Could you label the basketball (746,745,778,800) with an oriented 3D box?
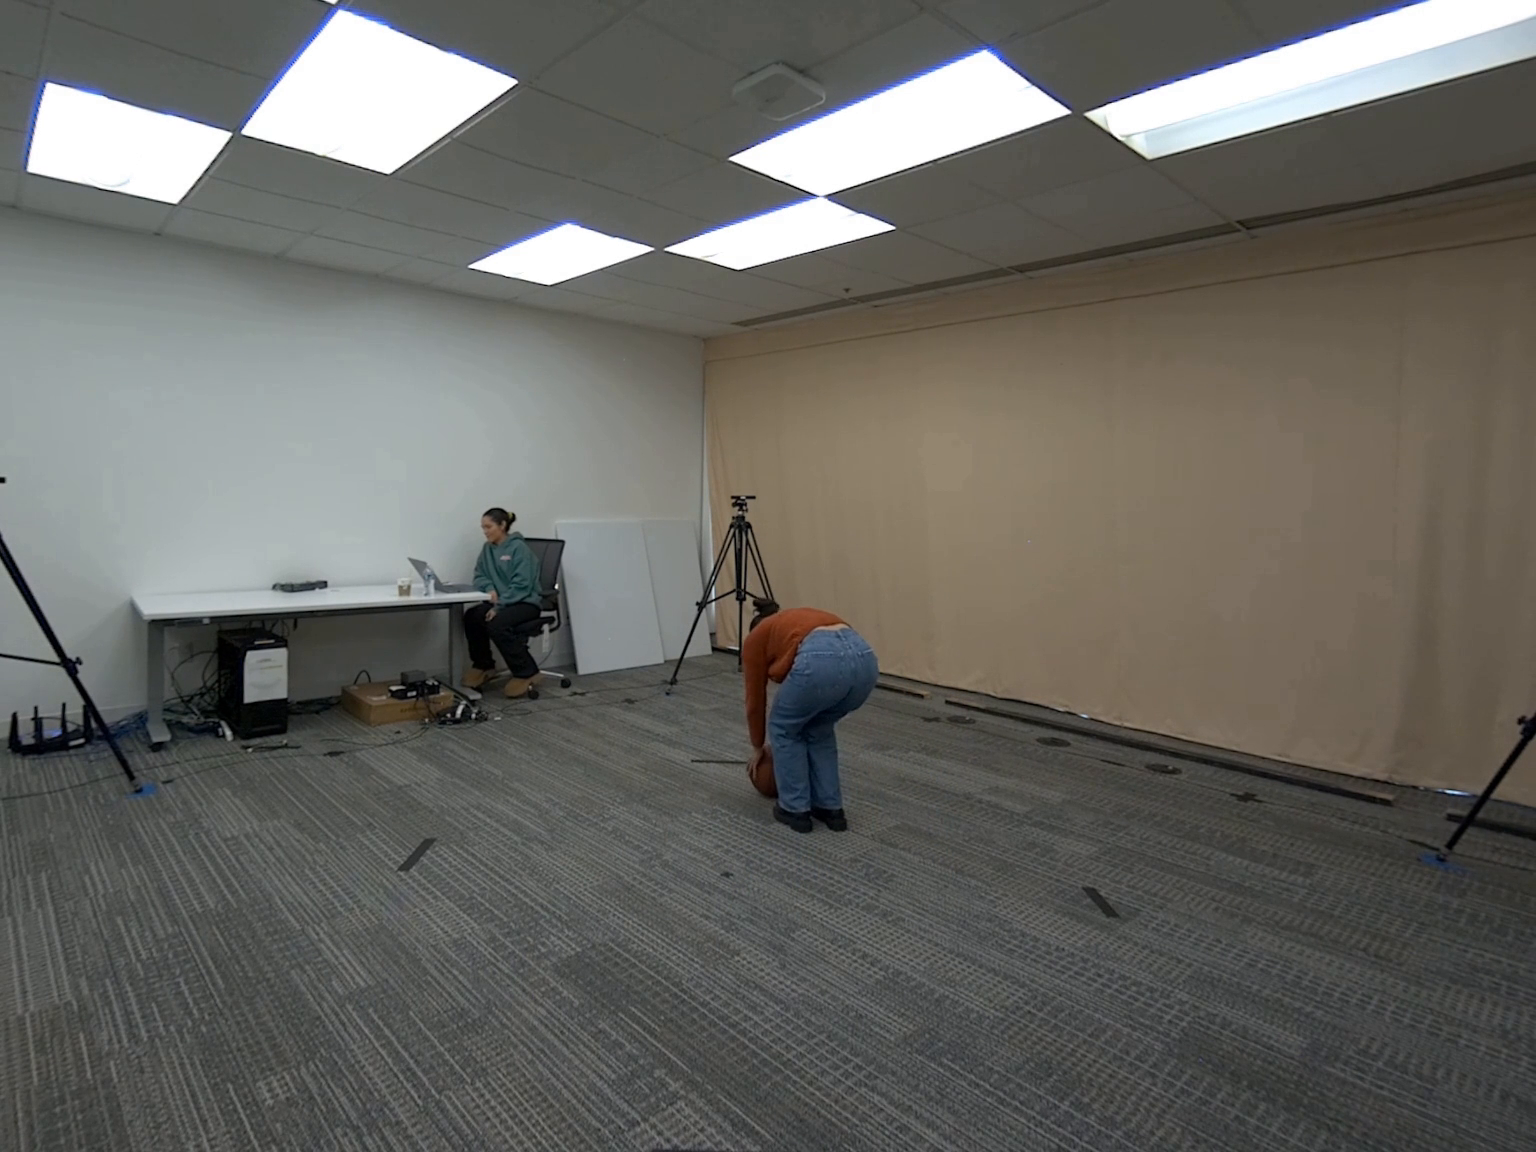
[{"bbox_3d":[0.020,0.908,3.961,0.236,0.235,0.237,1,4,-1],"label":"basketball"}]
